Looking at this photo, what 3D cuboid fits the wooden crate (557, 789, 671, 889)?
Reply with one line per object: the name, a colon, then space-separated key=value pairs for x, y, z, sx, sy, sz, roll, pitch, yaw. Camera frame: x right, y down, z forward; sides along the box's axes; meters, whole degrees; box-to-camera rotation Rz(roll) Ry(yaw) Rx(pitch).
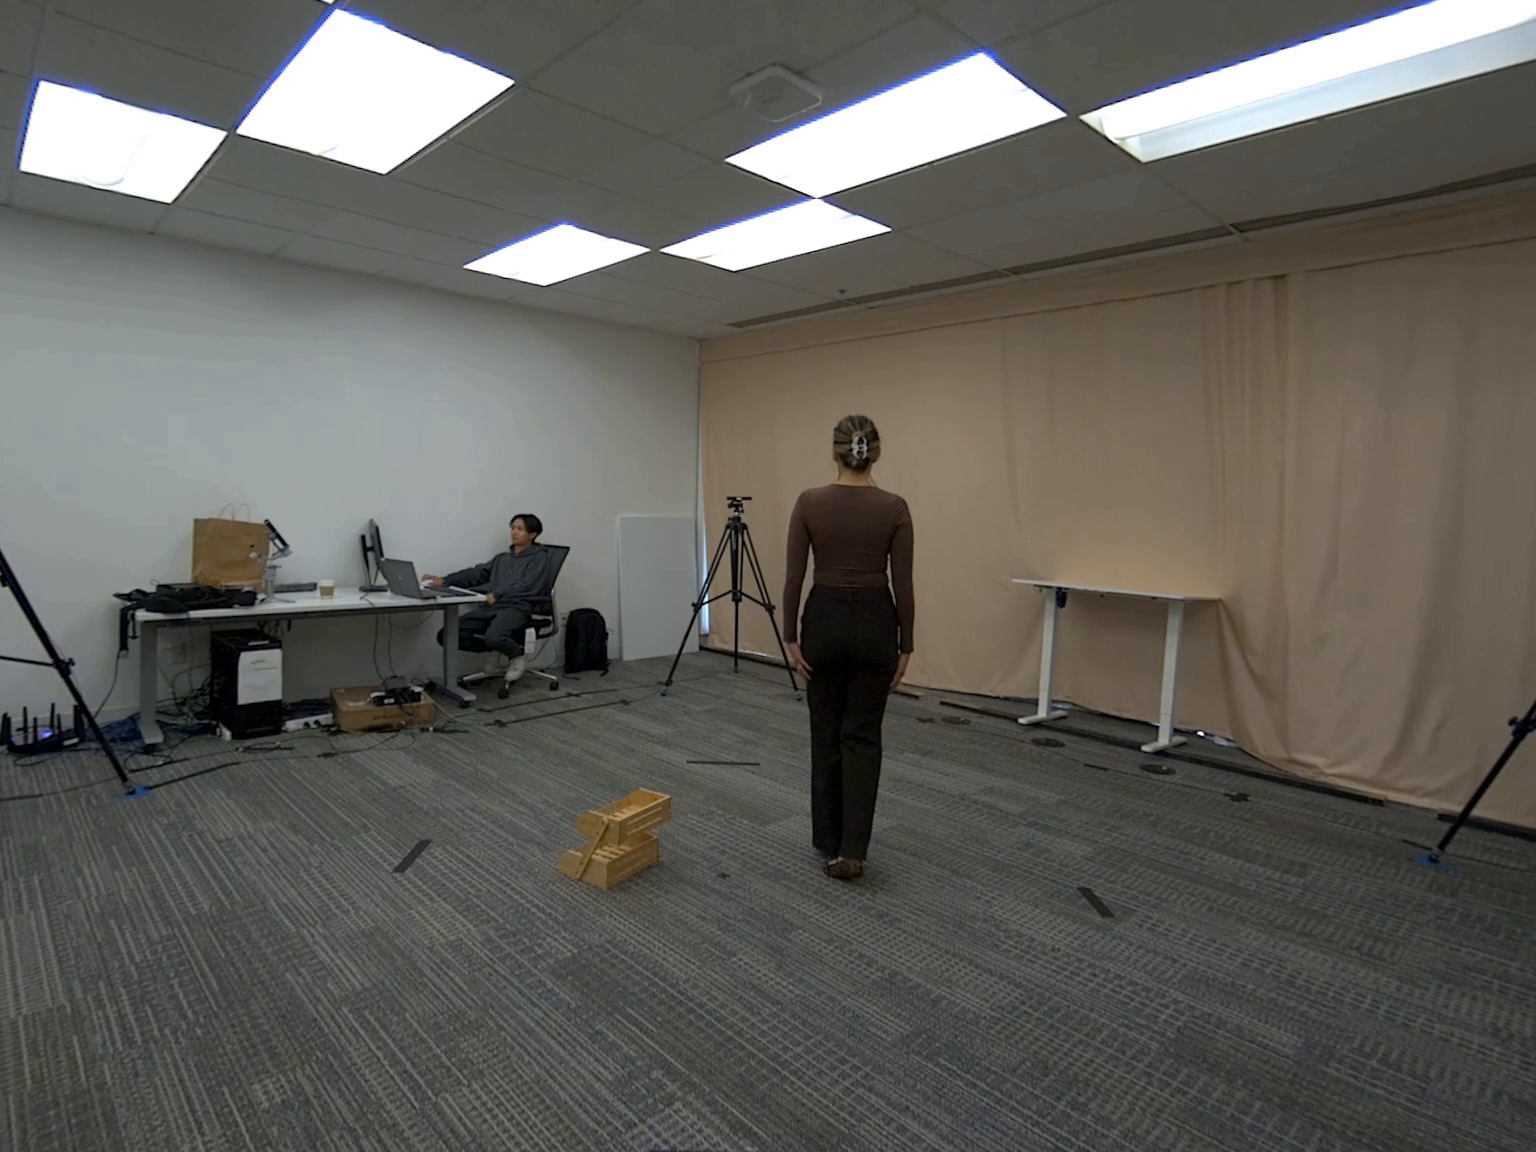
wooden crate: x=-0.590 y=0.961 z=3.143 sx=0.309 sy=0.272 sz=0.318 roll=4 pitch=5 yaw=31
